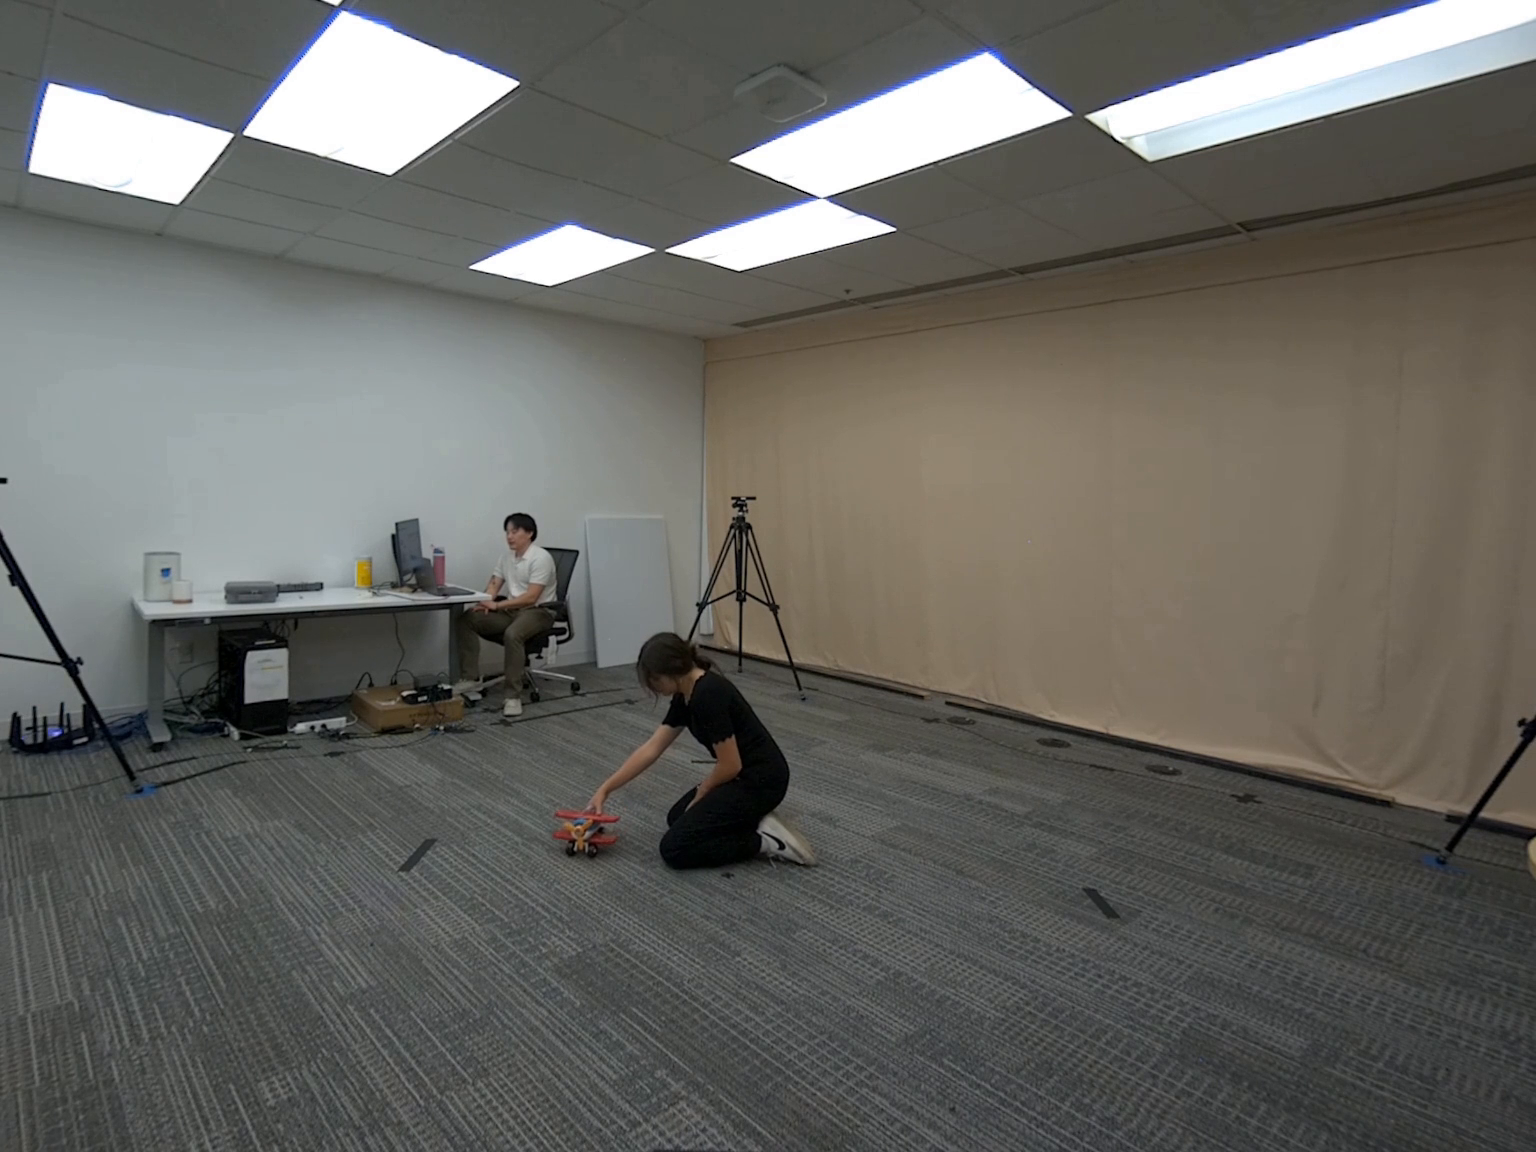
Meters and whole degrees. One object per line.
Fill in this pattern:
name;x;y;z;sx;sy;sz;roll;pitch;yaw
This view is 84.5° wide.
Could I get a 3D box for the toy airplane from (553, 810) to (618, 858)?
toy airplane;-0.732;0.990;3.317;0.247;0.155;0.264;-3;11;-19
